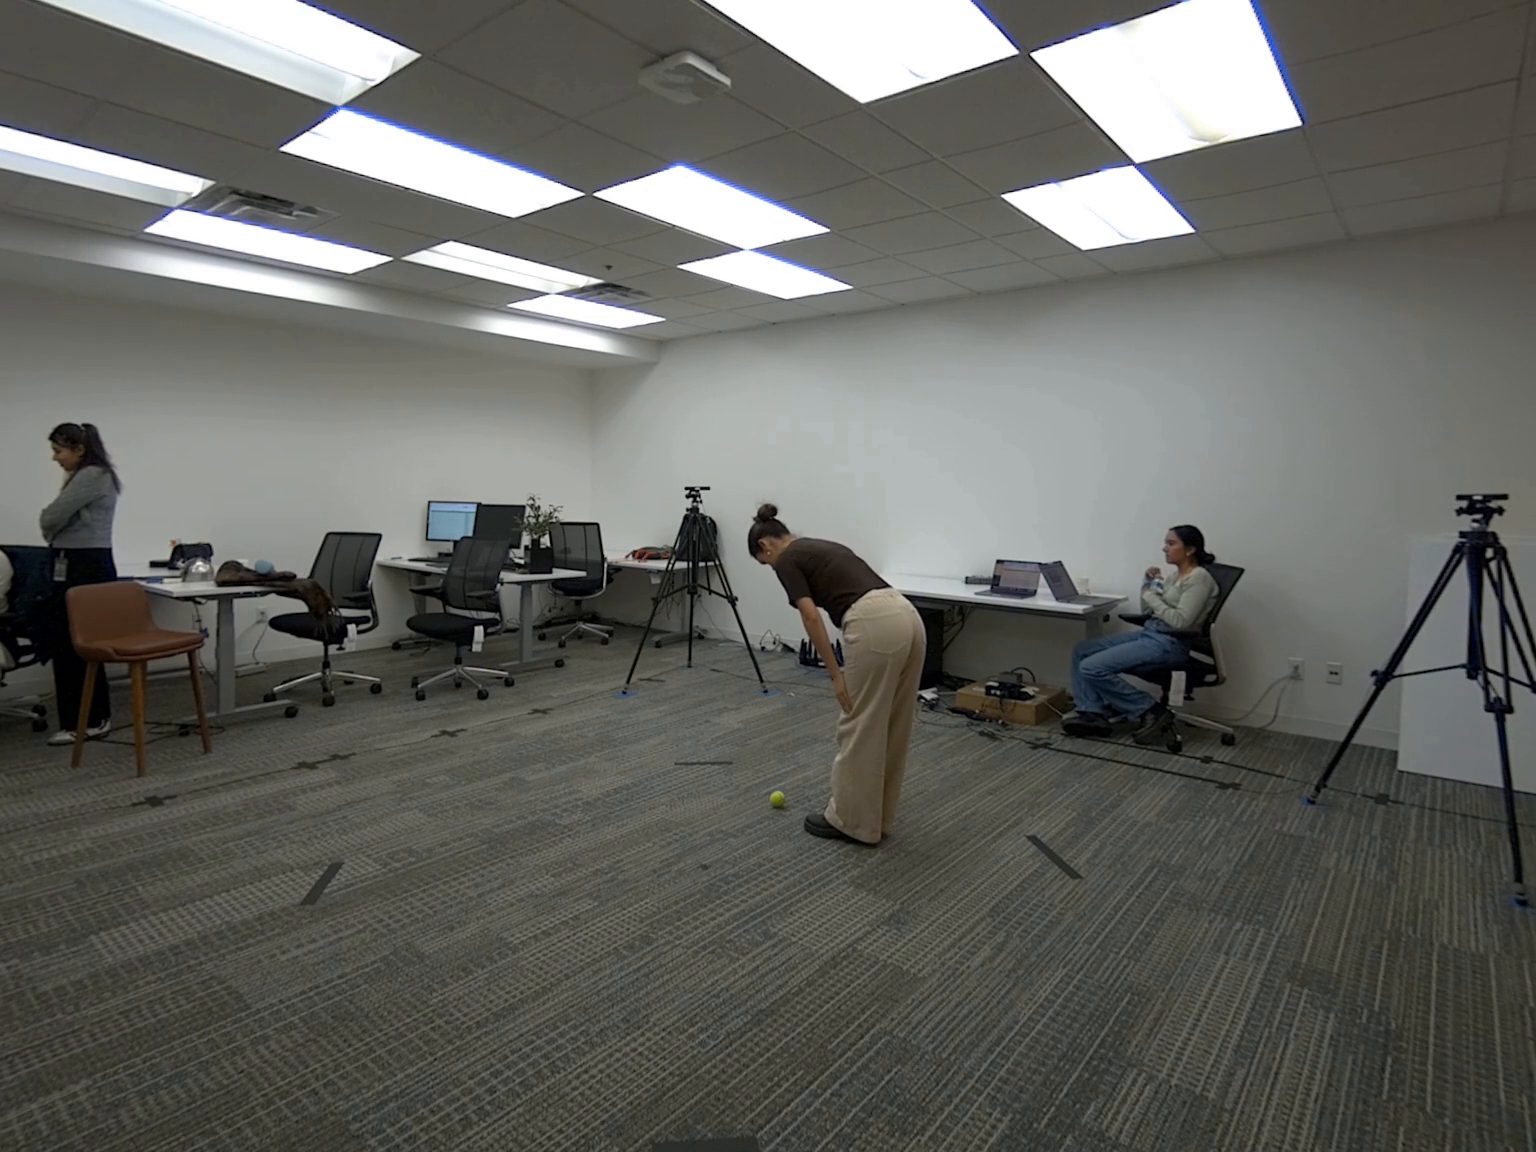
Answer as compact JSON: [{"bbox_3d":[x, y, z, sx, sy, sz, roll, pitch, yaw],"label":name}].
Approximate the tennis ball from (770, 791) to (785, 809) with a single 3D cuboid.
[{"bbox_3d":[0.031,0.971,3.727,0.066,0.066,0.067,1,4,-2],"label":"tennis ball"}]
